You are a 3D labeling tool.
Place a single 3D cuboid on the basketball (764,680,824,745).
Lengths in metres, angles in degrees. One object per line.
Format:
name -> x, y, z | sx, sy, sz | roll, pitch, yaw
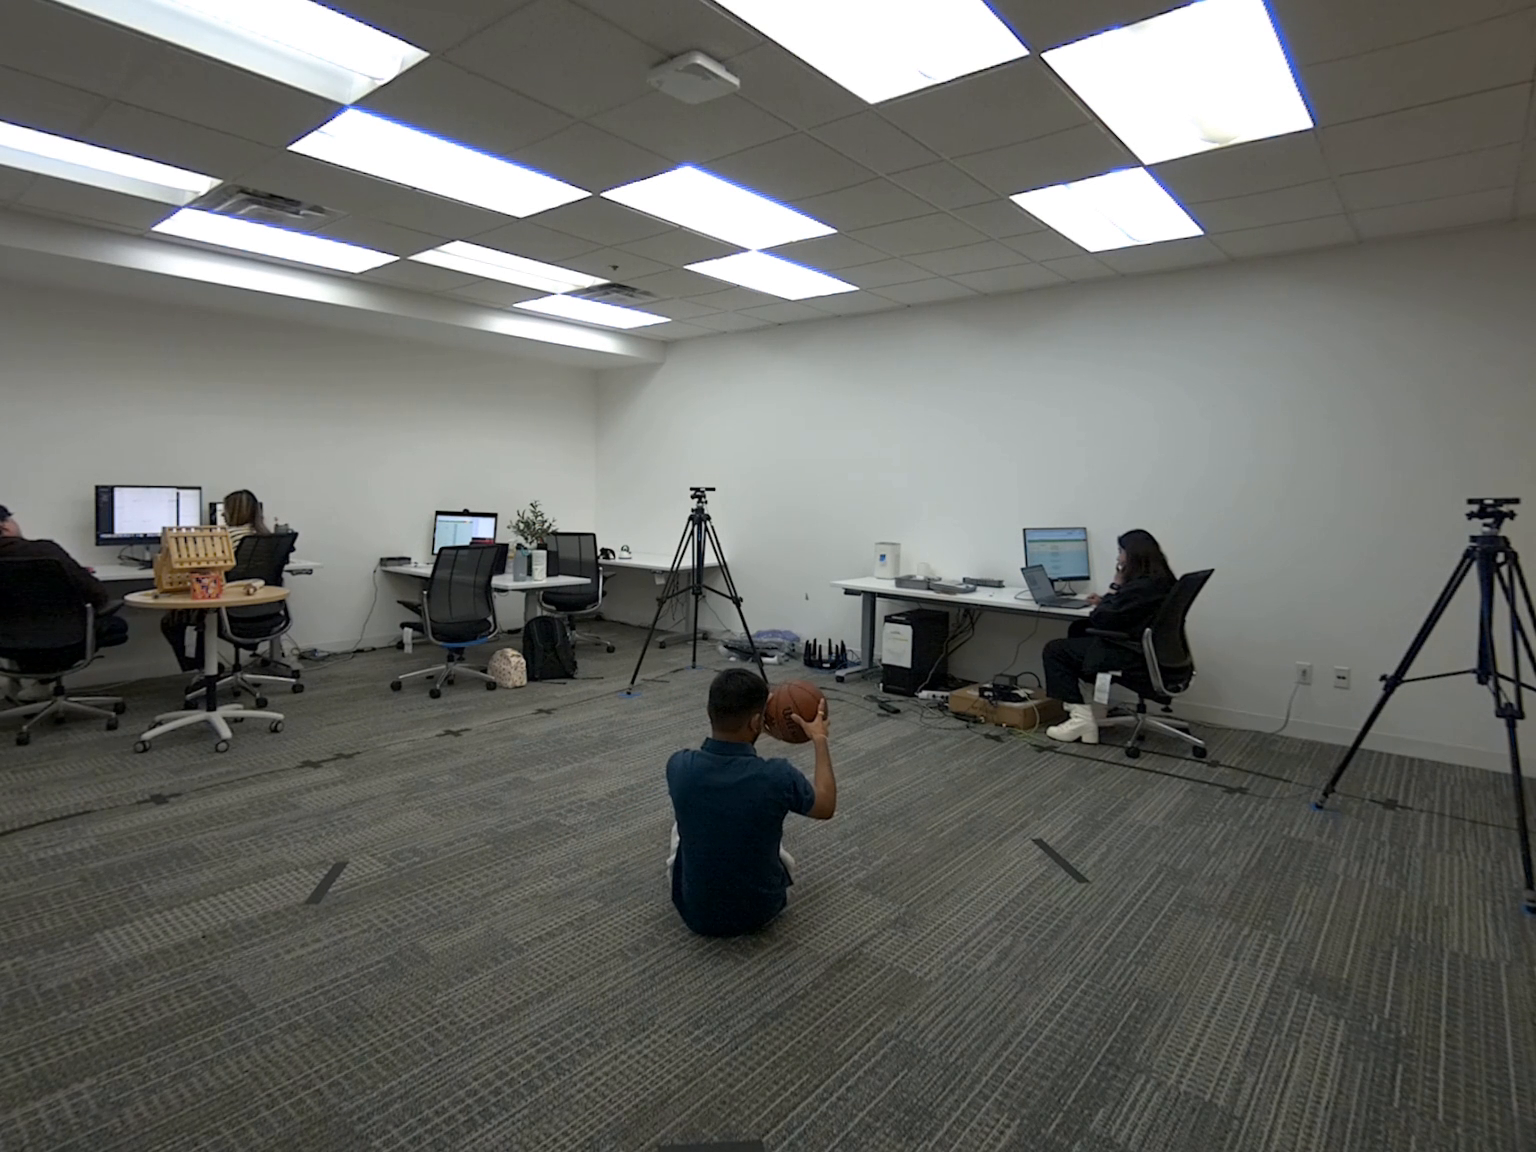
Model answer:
basketball -> 0.091, 0.496, 3.151 | 0.235, 0.235, 0.237 | 1, 4, -2
